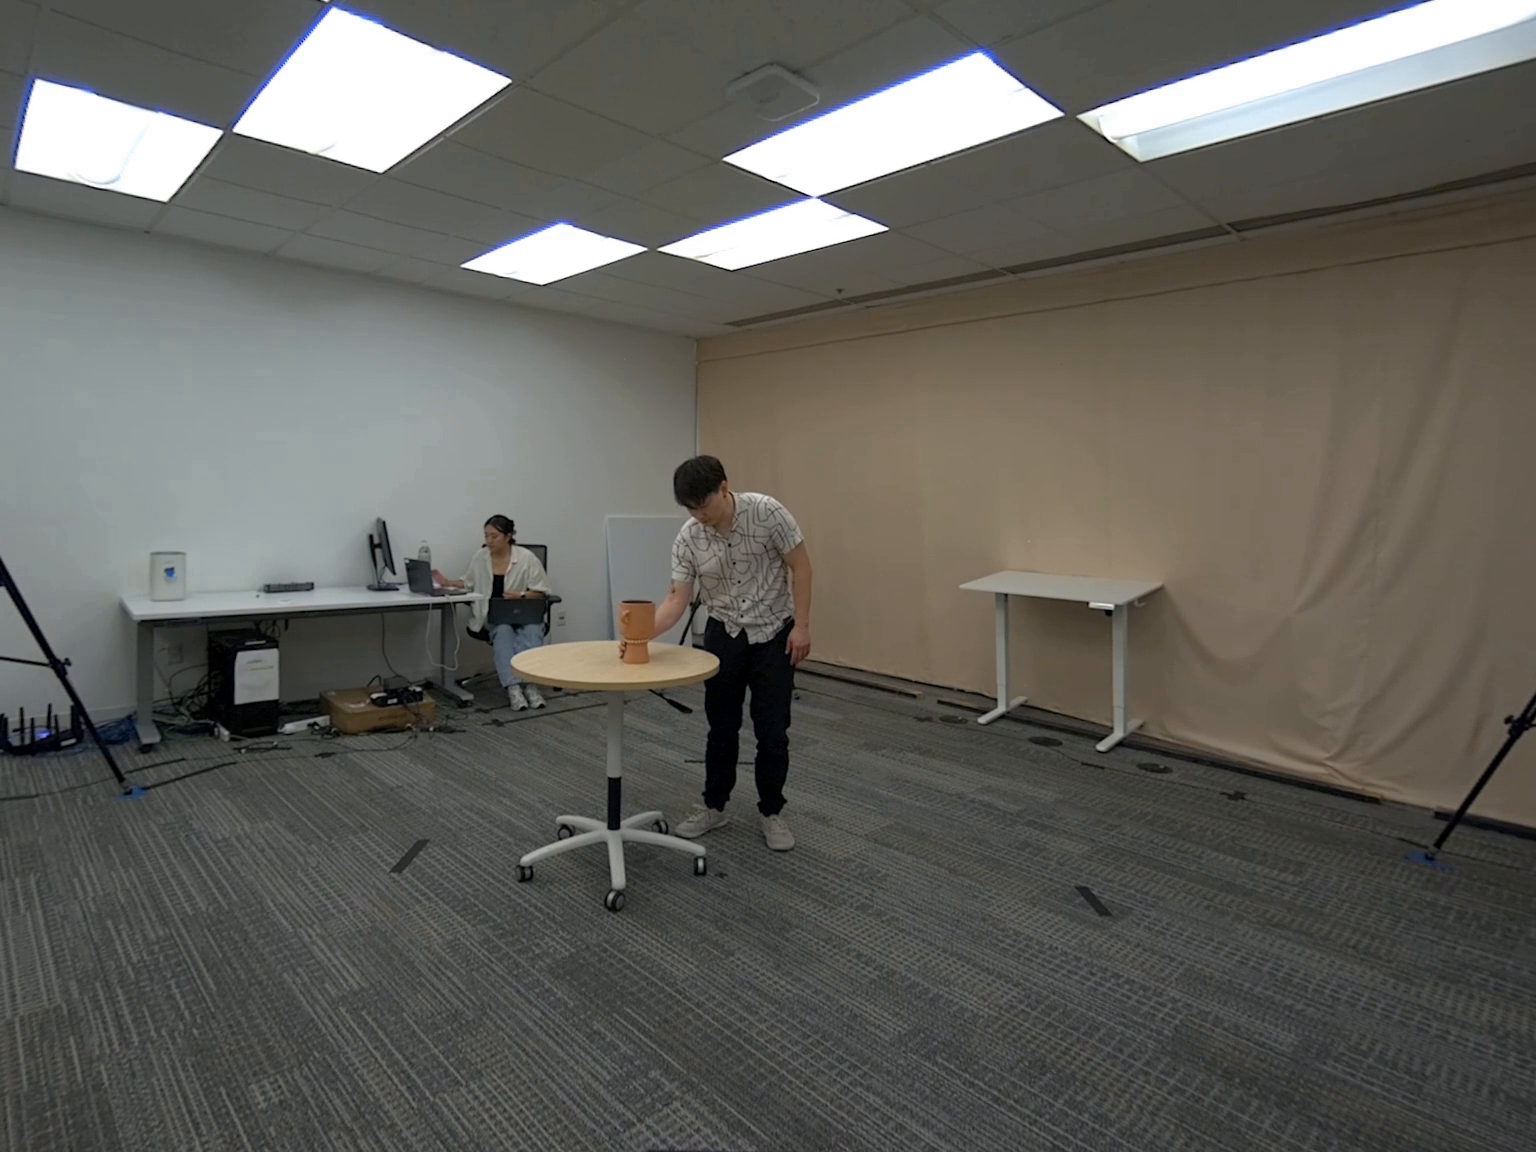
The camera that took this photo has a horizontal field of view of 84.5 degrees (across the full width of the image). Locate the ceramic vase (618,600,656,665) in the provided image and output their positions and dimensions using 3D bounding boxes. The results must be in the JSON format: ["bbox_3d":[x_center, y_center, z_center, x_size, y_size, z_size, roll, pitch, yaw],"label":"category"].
[{"bbox_3d":[-0.491,0.207,3.089,0.156,0.219,0.137,0,4,-26],"label":"ceramic vase"}]
